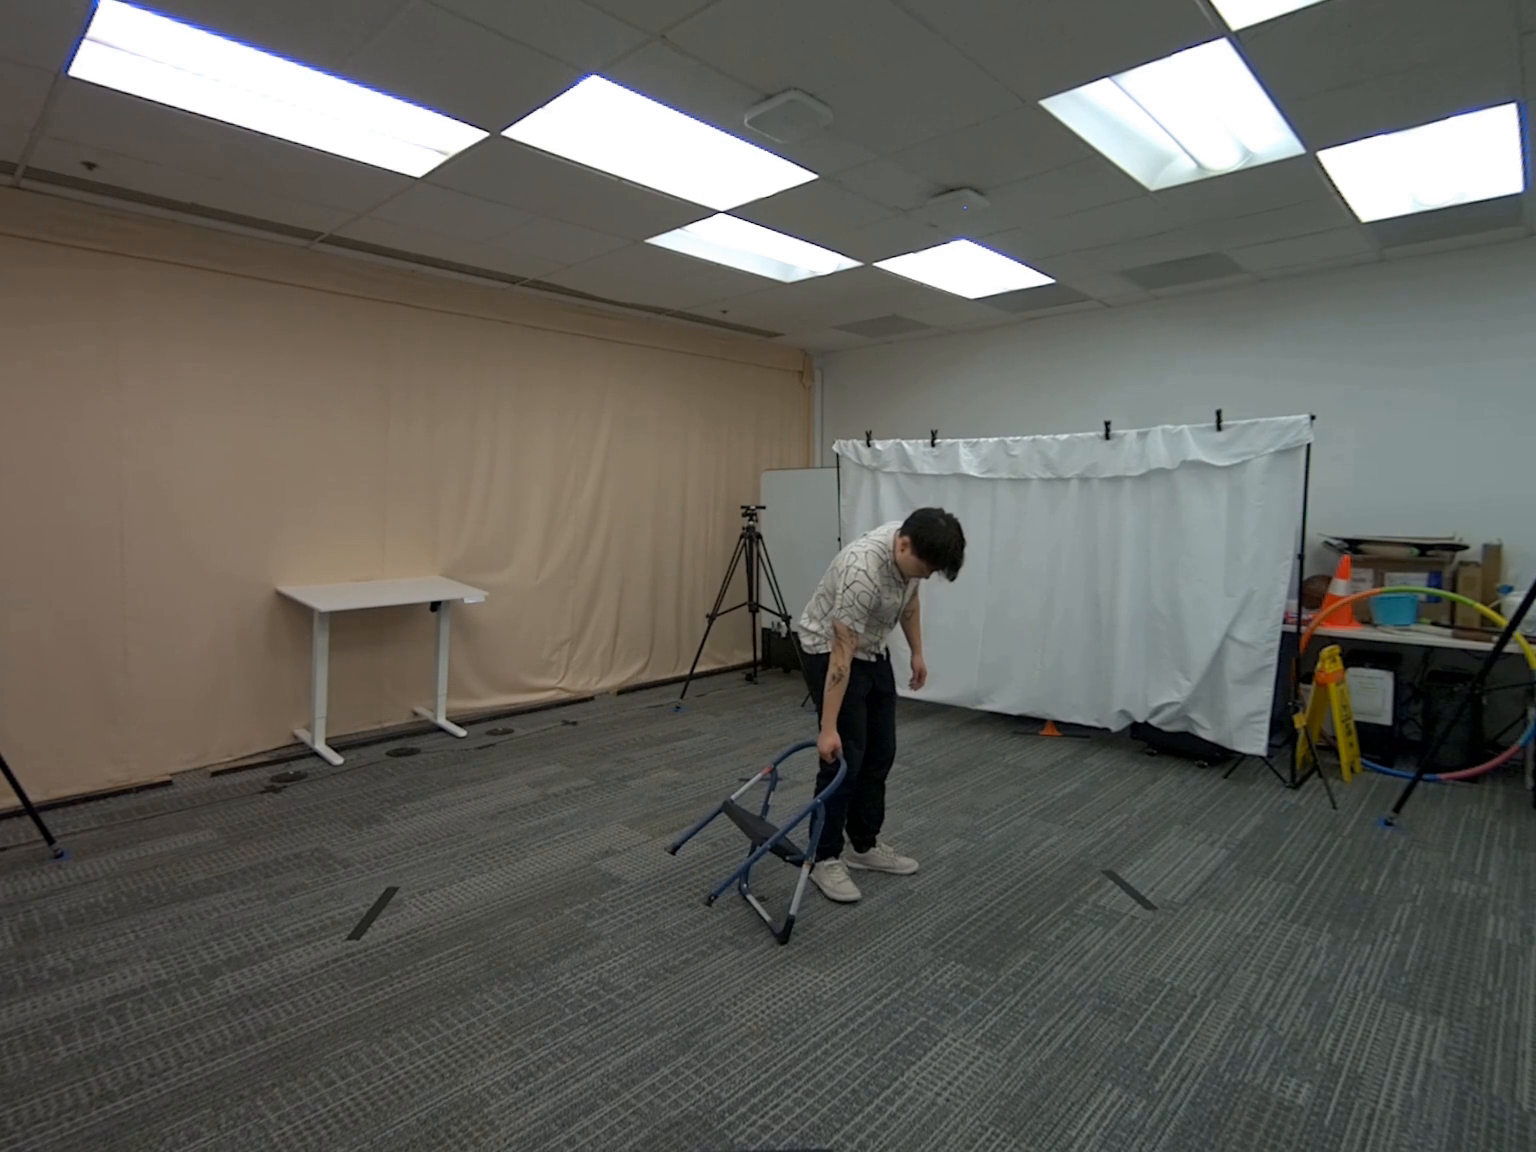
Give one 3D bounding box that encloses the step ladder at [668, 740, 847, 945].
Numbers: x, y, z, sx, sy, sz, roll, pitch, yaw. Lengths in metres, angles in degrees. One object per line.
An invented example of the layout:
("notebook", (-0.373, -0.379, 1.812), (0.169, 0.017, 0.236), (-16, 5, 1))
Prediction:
("step ladder", (0.004, 0.815, 2.844), (0.341, 0.606, 0.440), (35, -8, -20))
